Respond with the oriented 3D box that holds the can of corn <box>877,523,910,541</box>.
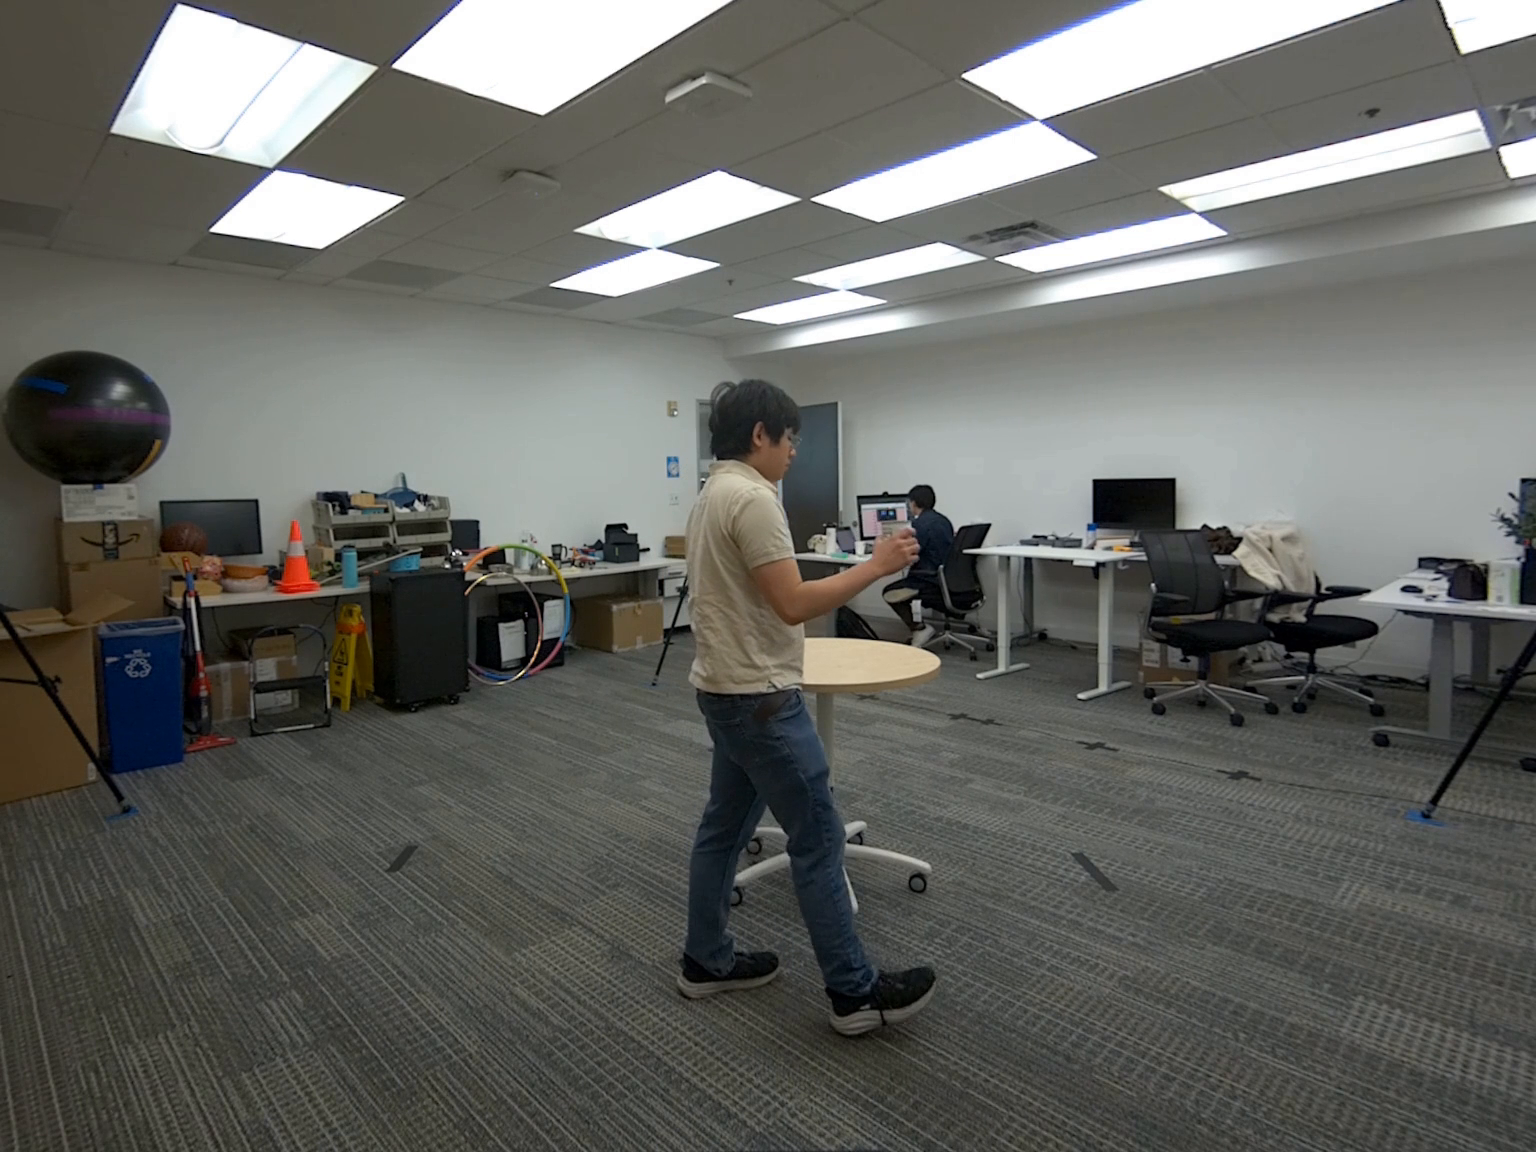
[{"bbox_3d":[0.340,-0.080,2.149,0.074,0.111,0.074,-1,2,-2],"label":"can of corn"}]
